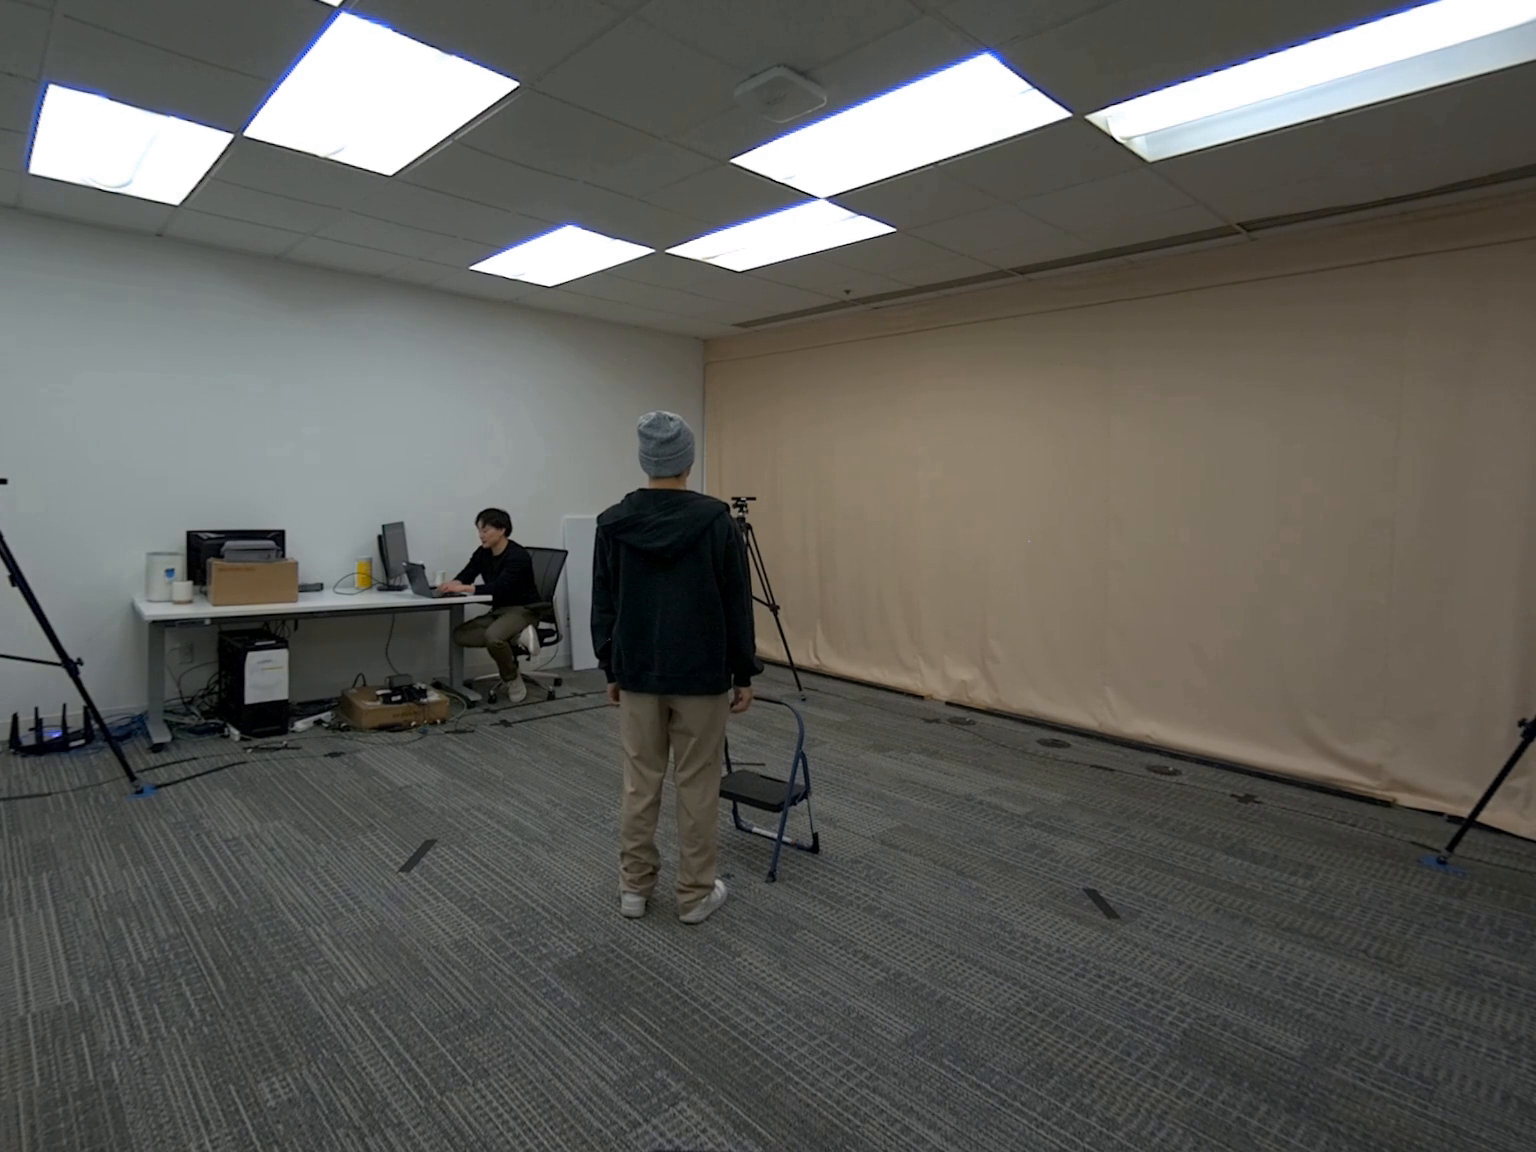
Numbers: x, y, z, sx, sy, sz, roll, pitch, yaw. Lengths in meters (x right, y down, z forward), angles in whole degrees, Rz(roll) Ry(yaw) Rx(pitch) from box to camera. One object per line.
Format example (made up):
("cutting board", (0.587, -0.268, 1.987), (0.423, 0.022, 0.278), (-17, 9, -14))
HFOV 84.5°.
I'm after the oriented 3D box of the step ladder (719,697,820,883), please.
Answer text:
("step ladder", (-0.055, 0.789, 3.305), (0.441, 0.605, 0.341), (4, 4, 37))
